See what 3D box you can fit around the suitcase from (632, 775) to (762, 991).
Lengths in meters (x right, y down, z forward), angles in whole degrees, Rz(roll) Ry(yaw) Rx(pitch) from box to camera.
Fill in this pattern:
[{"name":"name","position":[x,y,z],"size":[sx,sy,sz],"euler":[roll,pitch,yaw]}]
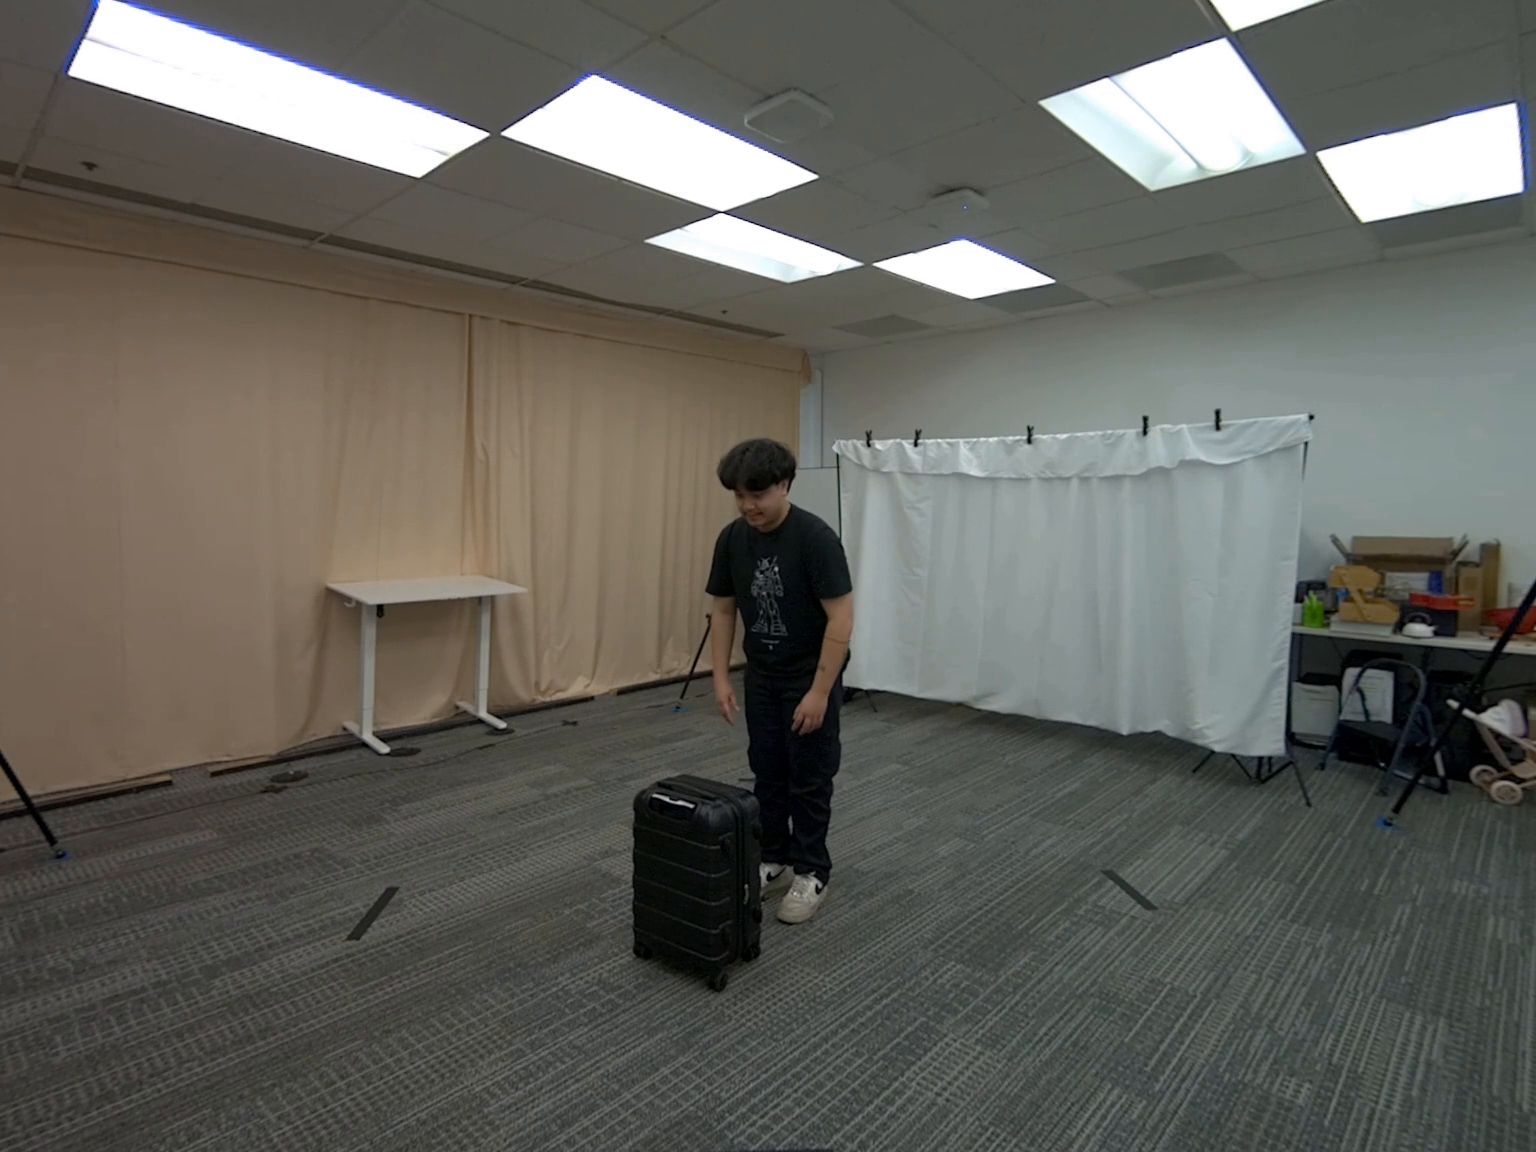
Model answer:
[{"name":"suitcase","position":[-0.221,0.905,2.568],"size":[0.387,0.548,0.241],"euler":[2,4,35]}]
